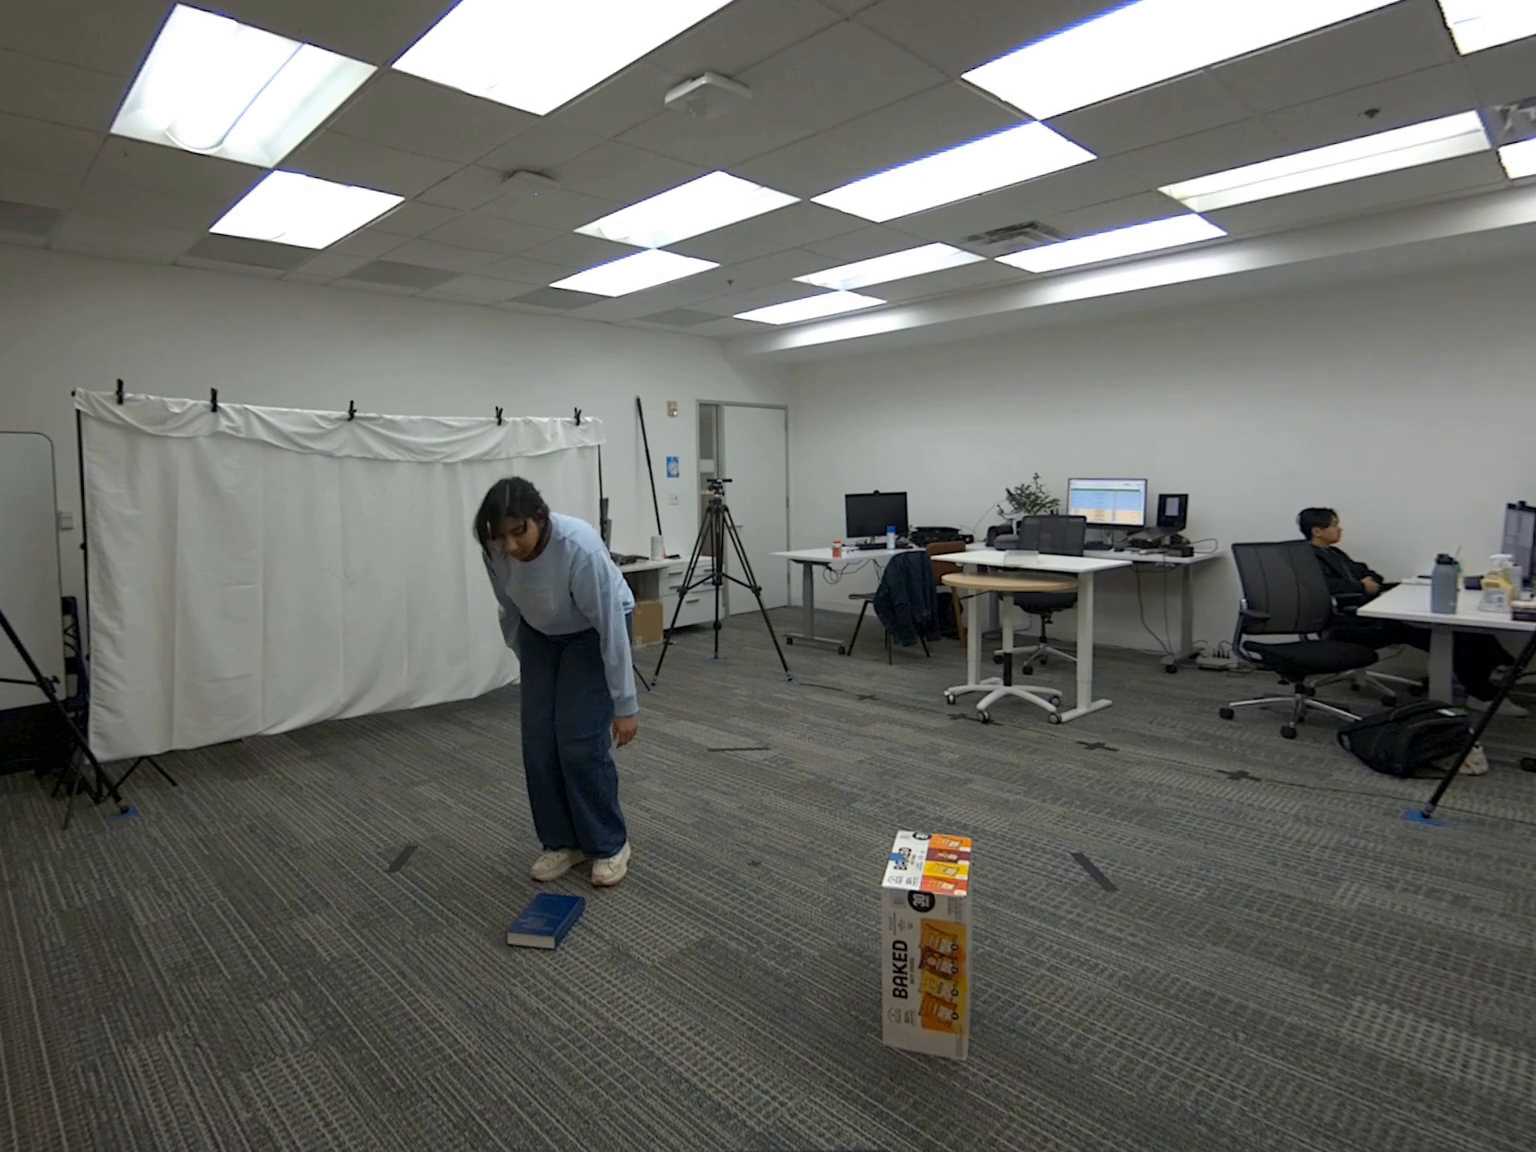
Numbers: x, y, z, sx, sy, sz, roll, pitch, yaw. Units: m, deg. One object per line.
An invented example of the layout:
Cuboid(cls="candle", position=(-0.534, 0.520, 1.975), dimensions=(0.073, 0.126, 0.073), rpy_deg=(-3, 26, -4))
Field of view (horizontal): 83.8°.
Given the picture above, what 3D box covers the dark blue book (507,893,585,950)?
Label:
Cuboid(cls="dark blue book", position=(-0.699, 1.086, 2.690), dimensions=(0.165, 0.045, 0.244), rpy_deg=(0, 7, 11))
